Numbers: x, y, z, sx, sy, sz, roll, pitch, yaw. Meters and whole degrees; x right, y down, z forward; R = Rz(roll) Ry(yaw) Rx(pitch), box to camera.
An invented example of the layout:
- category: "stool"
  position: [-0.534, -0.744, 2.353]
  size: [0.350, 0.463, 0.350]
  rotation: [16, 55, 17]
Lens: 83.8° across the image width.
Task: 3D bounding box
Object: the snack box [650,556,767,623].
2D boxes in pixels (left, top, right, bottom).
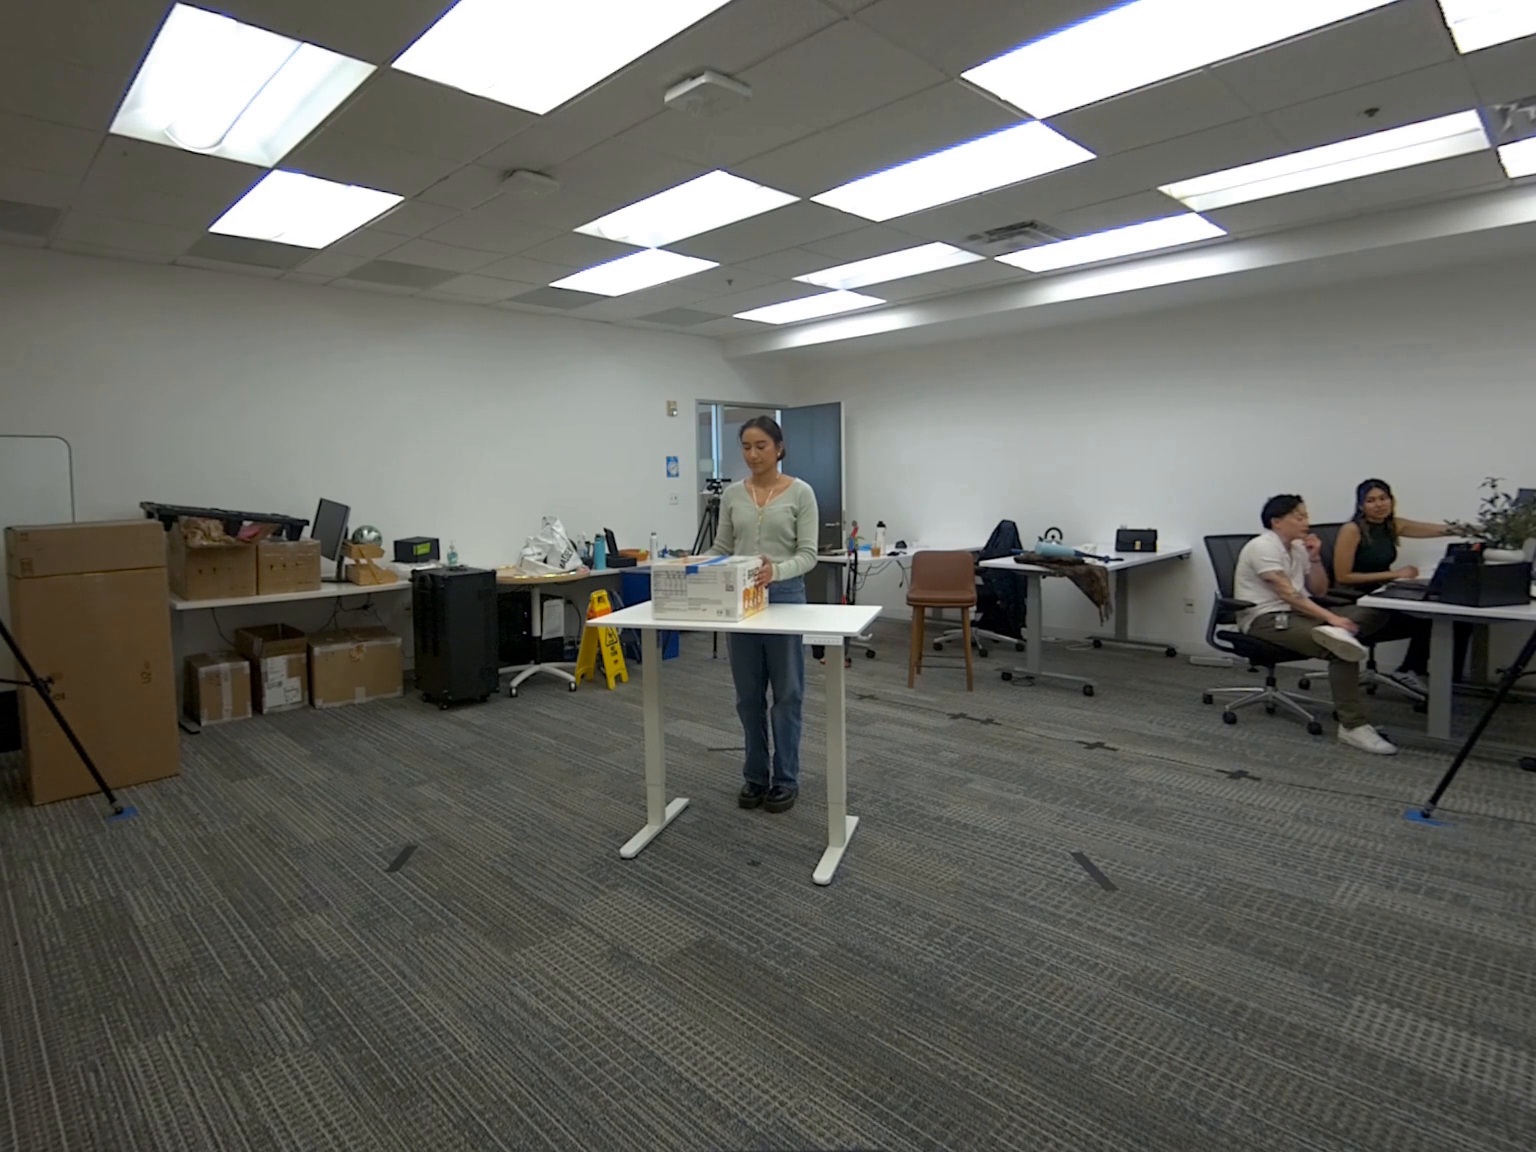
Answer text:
- category: "snack box"
  position: [-0.212, 0.042, 3.293]
  size: [0.346, 0.205, 0.400]
  rotation: [0, 5, 17]
